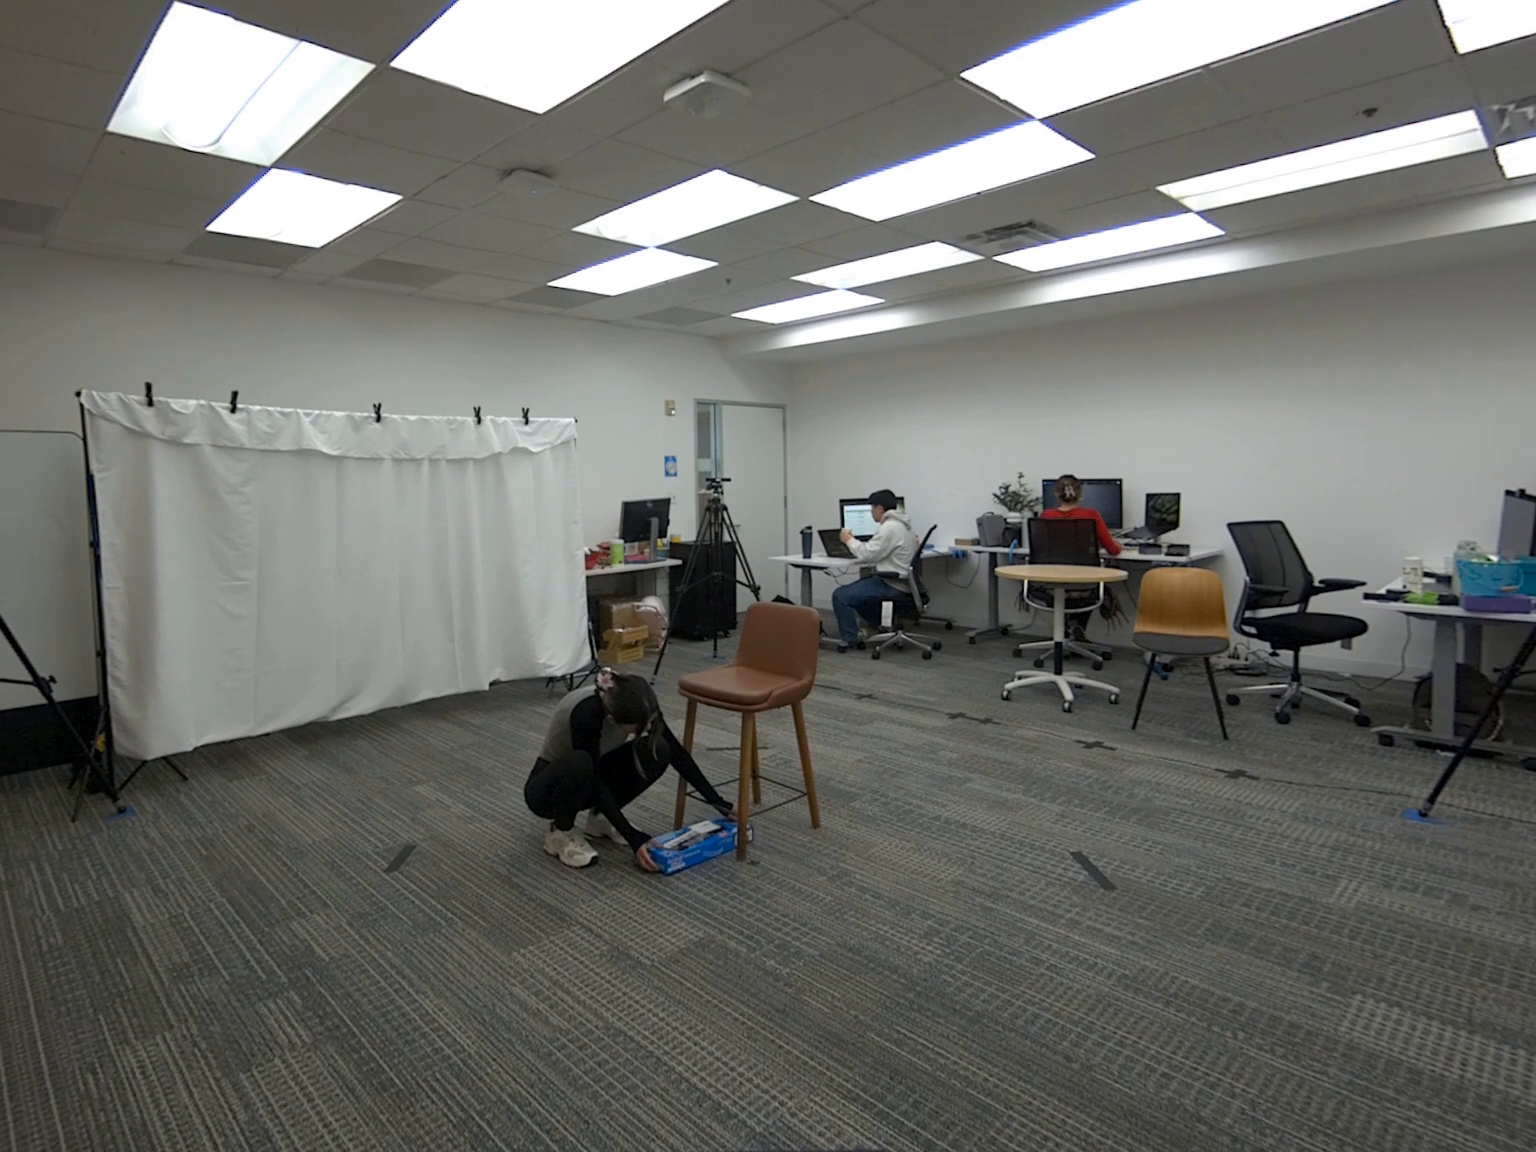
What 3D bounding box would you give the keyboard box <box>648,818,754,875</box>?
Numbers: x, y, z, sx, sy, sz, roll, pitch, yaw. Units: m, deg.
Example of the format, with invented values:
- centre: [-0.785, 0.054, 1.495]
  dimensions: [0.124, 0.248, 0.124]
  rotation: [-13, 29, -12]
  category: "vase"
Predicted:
- centre: [-0.271, 0.996, 3.211]
  dimensions: [0.425, 0.059, 0.181]
  rotation: [-4, 8, -44]
  category: "keyboard box"
